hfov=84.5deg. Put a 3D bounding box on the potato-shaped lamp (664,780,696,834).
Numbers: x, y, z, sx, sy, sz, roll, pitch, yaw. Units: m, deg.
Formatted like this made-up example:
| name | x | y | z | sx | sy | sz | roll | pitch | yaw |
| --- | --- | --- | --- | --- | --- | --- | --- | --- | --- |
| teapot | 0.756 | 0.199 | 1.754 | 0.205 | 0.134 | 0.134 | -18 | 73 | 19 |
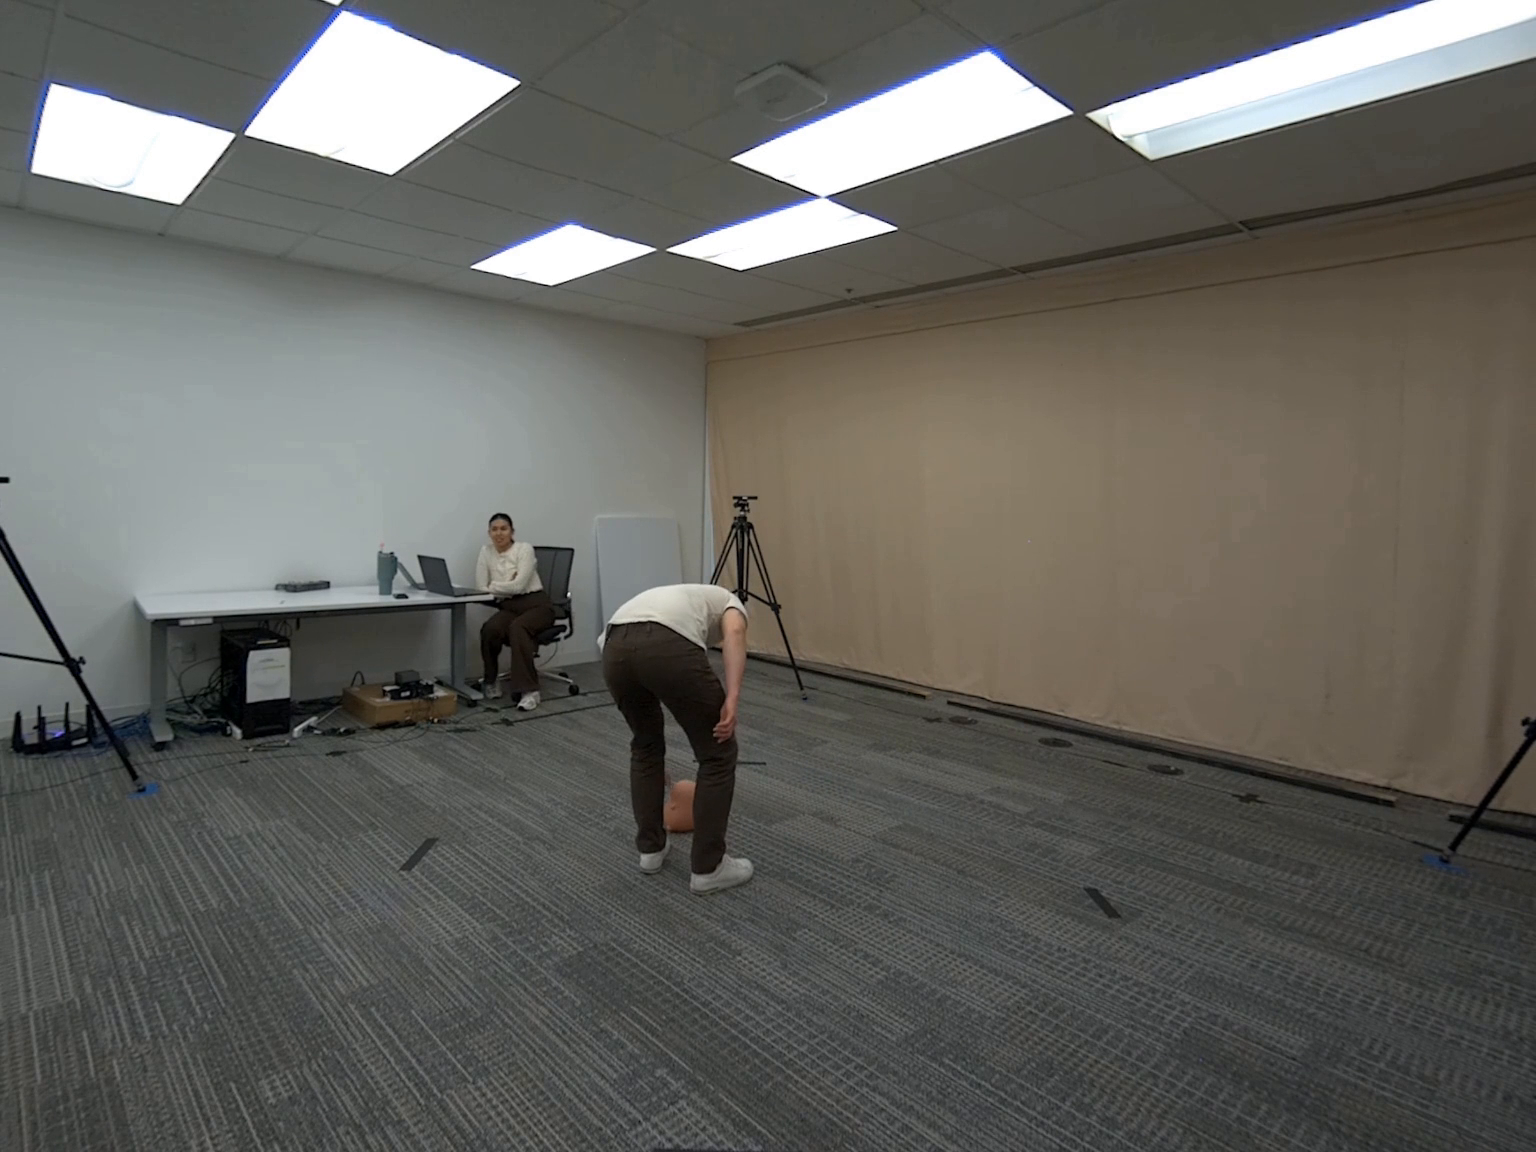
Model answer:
| name | x | y | z | sx | sy | sz | roll | pitch | yaw |
| --- | --- | --- | --- | --- | --- | --- | --- | --- | --- |
| potato-shaped lamp | -0.366 | 0.951 | 3.532 | 0.171 | 0.197 | 0.166 | 1 | 8 | -3 |
